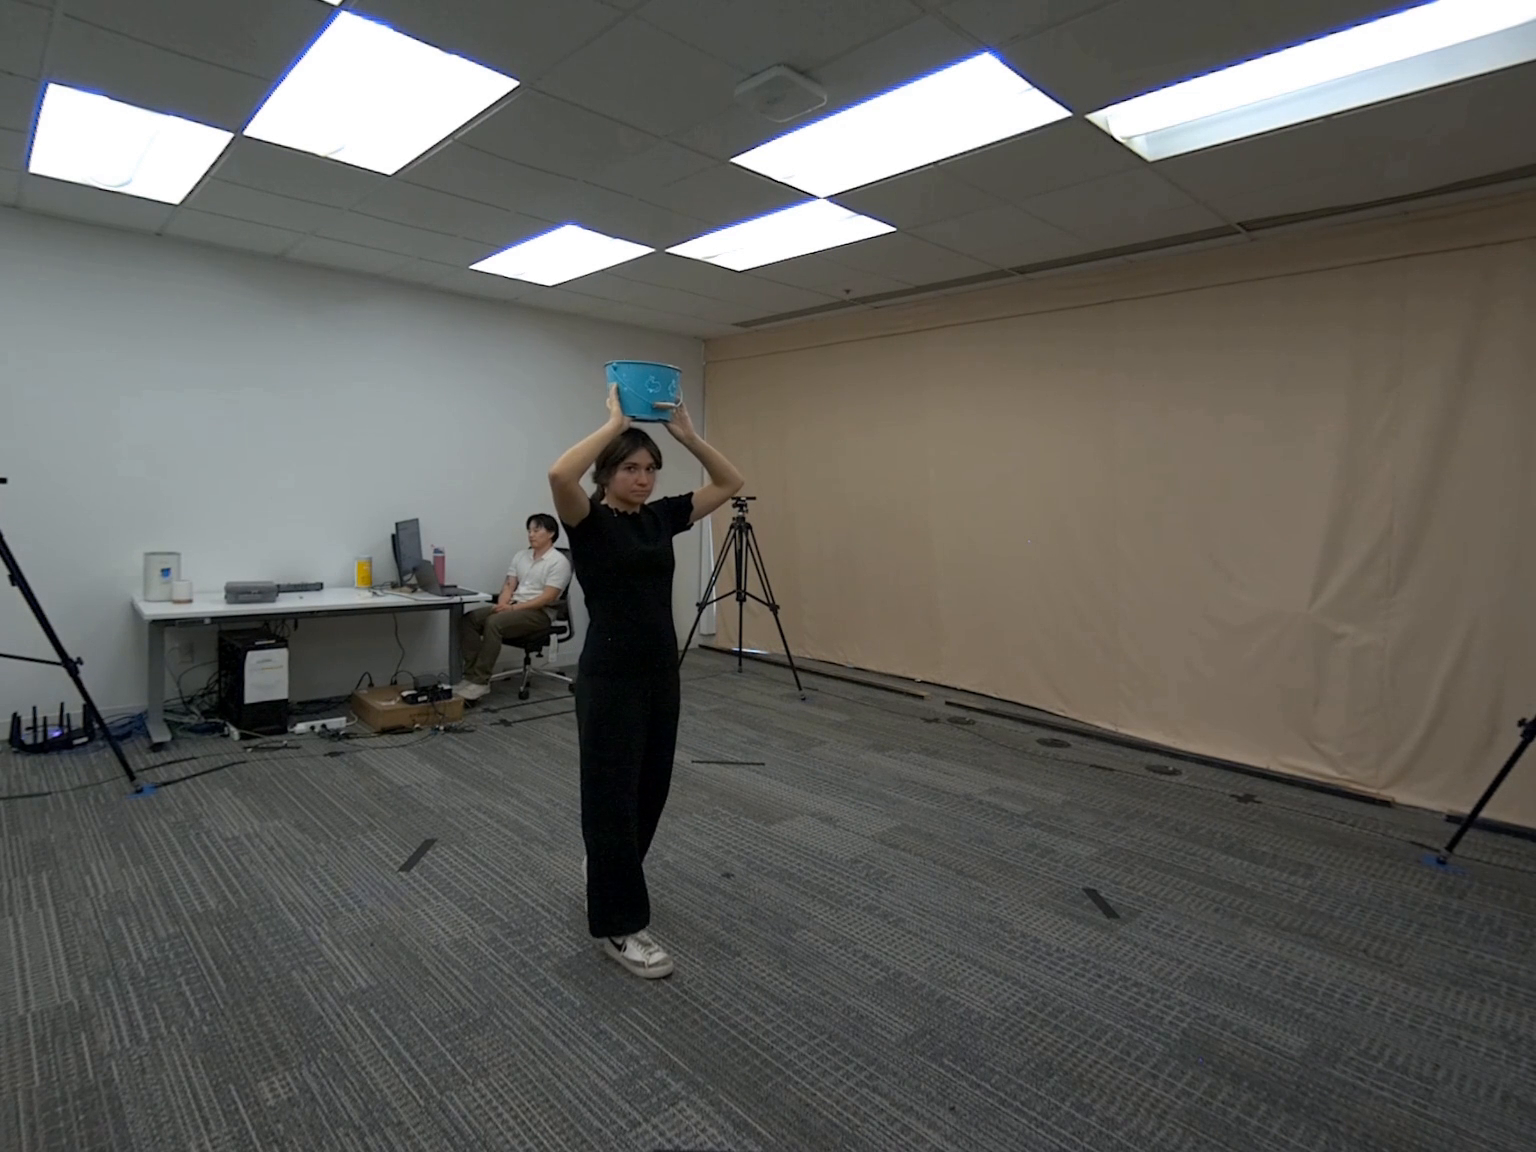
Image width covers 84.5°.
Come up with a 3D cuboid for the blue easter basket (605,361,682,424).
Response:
[{"bbox_3d":[-0.386,-0.540,2.484,0.243,0.155,0.244,4,3,-2],"label":"blue easter basket"}]
